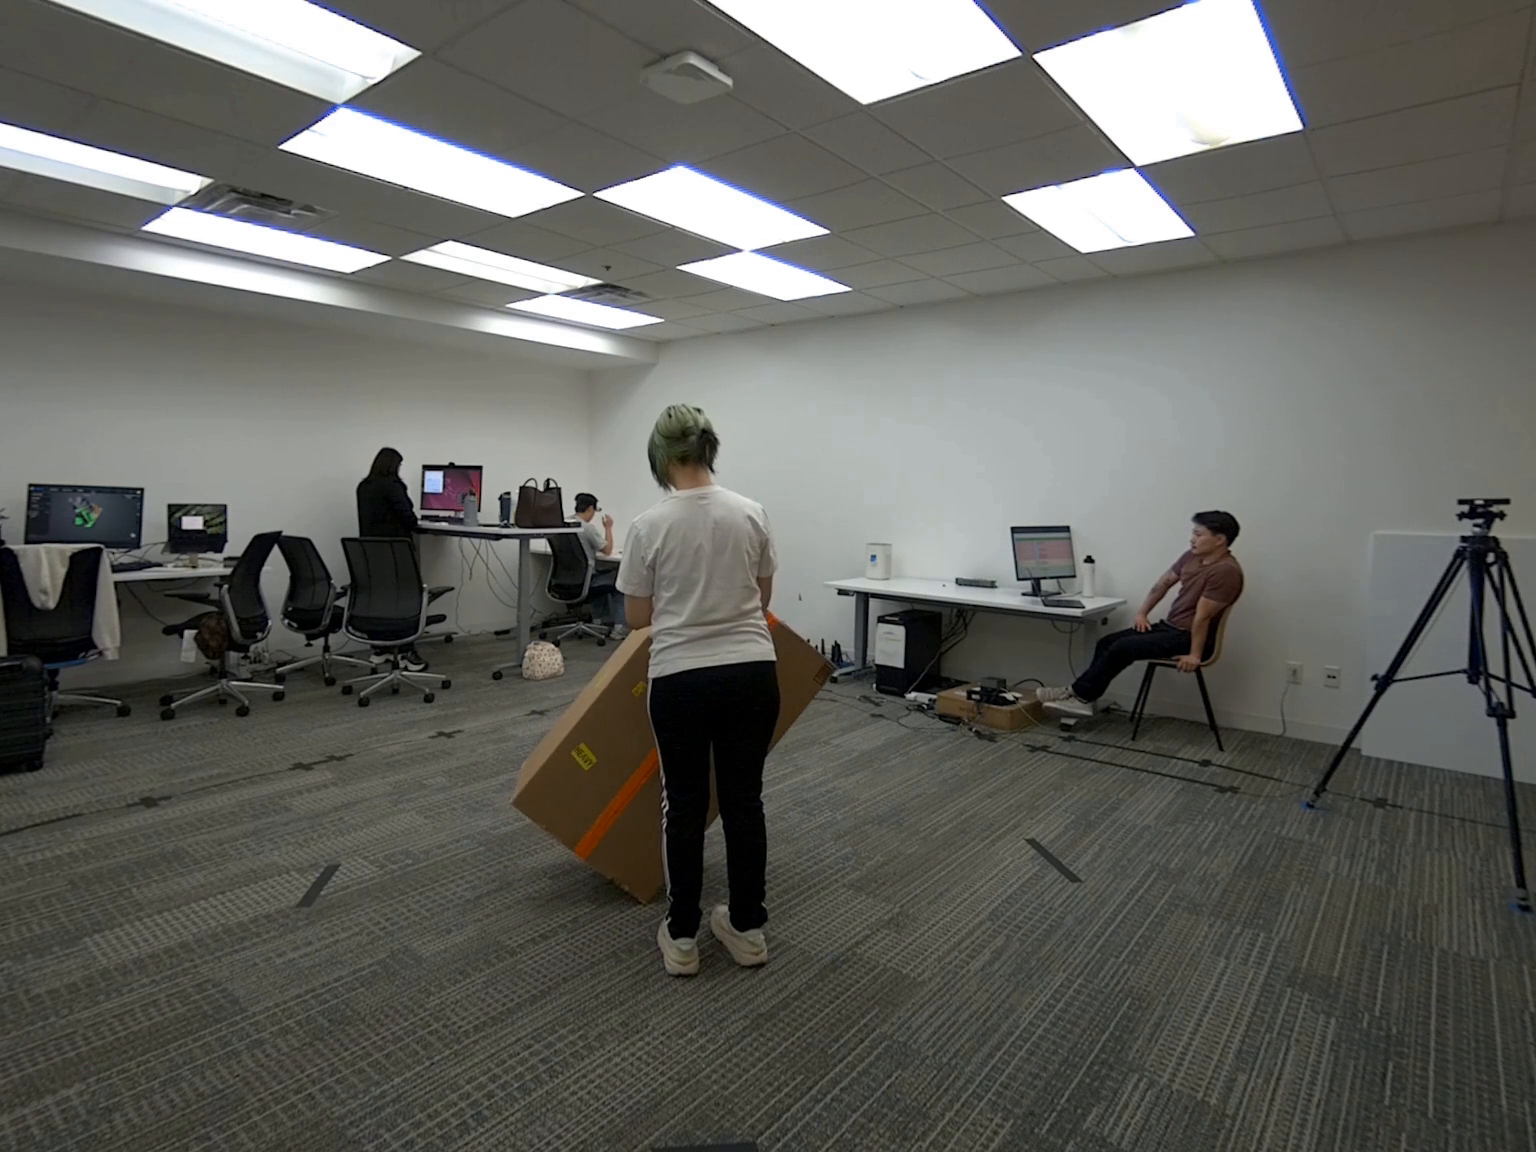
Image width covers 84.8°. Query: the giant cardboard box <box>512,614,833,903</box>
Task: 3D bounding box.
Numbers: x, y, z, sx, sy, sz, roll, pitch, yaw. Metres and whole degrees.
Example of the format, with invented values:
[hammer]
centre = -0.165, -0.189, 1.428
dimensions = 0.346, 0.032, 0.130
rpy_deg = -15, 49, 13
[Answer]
[giant cardboard box]
centre = -0.350, 0.507, 3.025
dimensions = 0.571, 1.026, 0.431
rpy_deg = 40, -3, -8
